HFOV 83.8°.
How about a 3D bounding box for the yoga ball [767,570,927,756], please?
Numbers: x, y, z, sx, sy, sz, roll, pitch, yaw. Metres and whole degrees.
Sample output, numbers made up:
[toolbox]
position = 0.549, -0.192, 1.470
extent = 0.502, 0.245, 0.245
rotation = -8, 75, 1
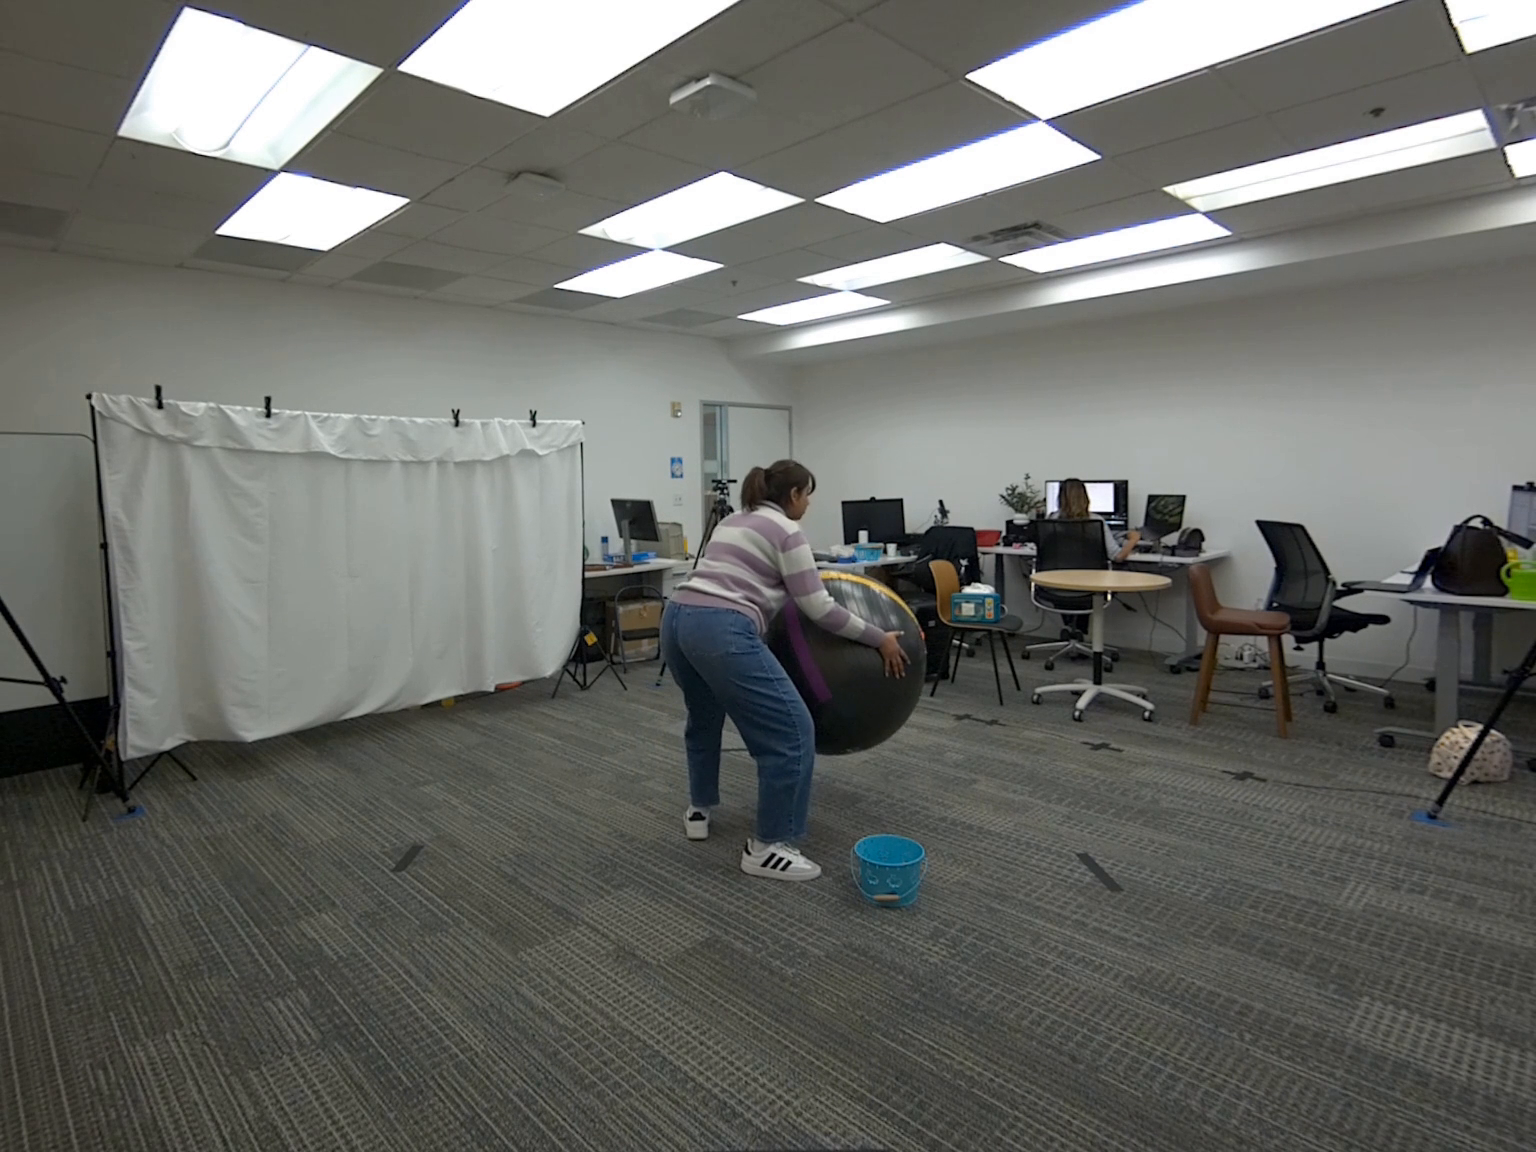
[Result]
[yoga ball]
position = 0.270, 0.354, 3.537
extent = 0.757, 0.755, 0.762
rotation = -1, 5, -2
